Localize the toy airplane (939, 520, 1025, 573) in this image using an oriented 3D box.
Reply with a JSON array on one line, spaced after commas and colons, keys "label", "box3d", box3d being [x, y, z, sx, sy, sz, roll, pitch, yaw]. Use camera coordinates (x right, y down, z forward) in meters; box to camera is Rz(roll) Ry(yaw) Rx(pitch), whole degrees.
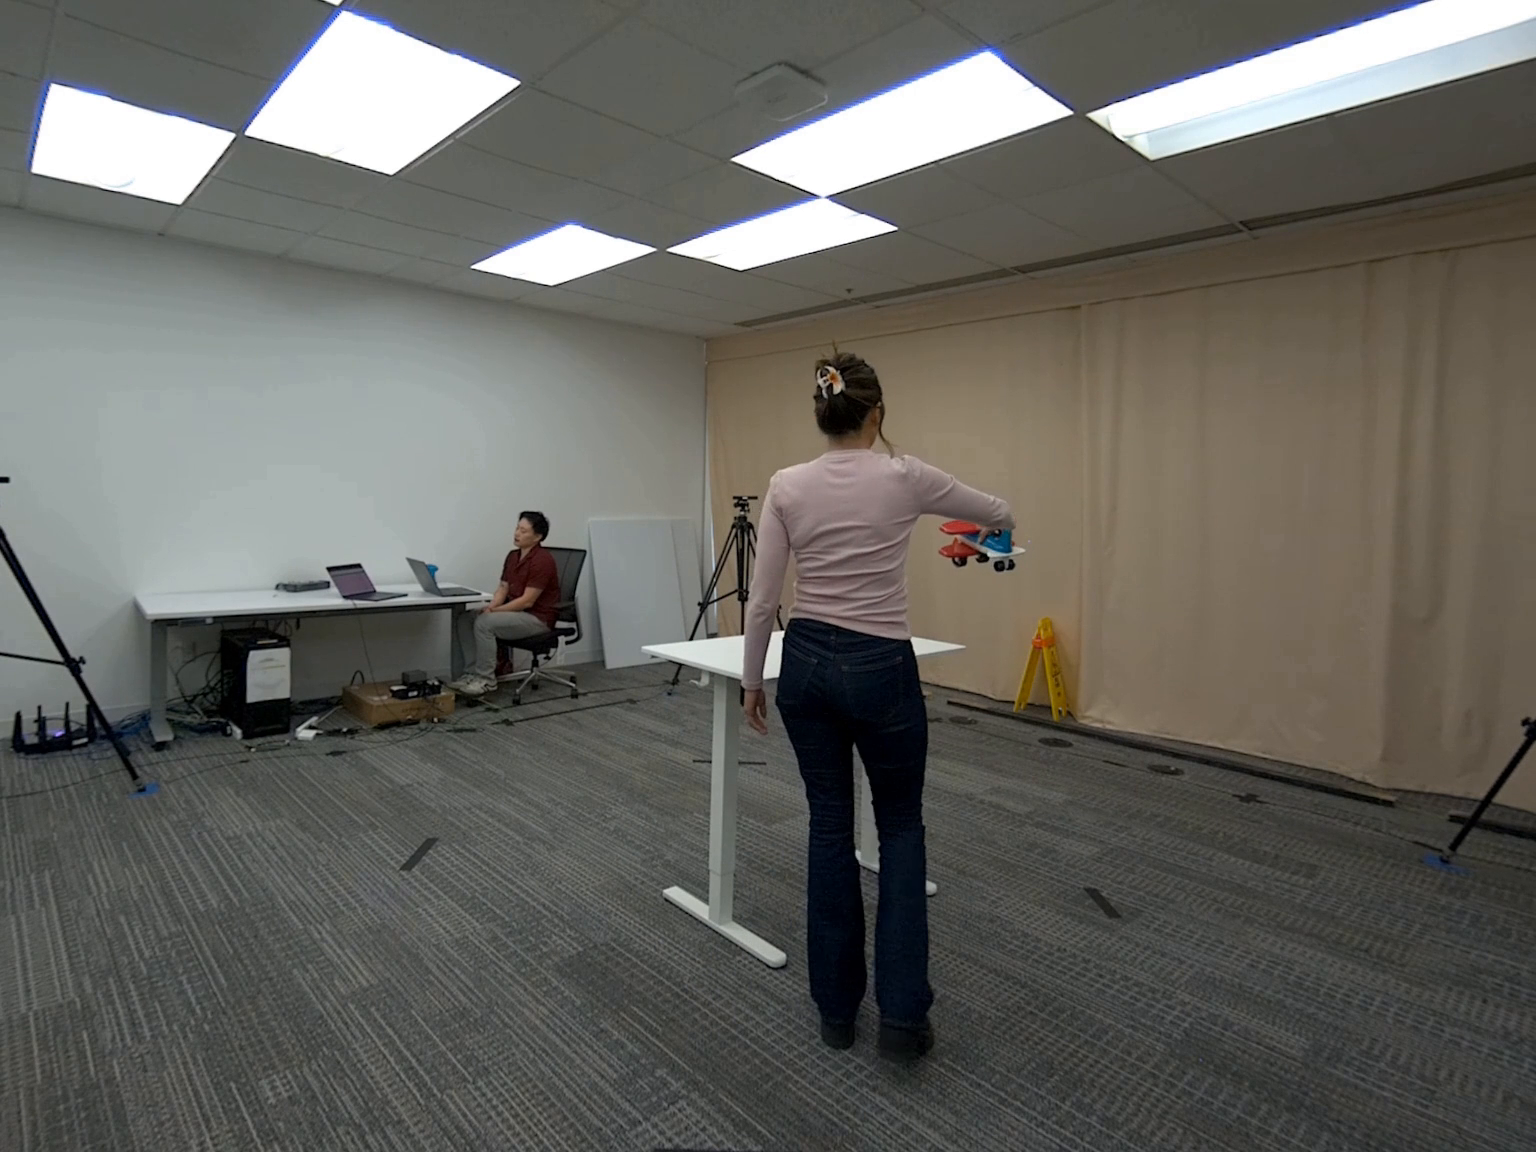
[{"label": "toy airplane", "box3d": [0.679, -0.106, 2.636, 0.265, 0.155, 0.247, 1, 11, 45]}]
